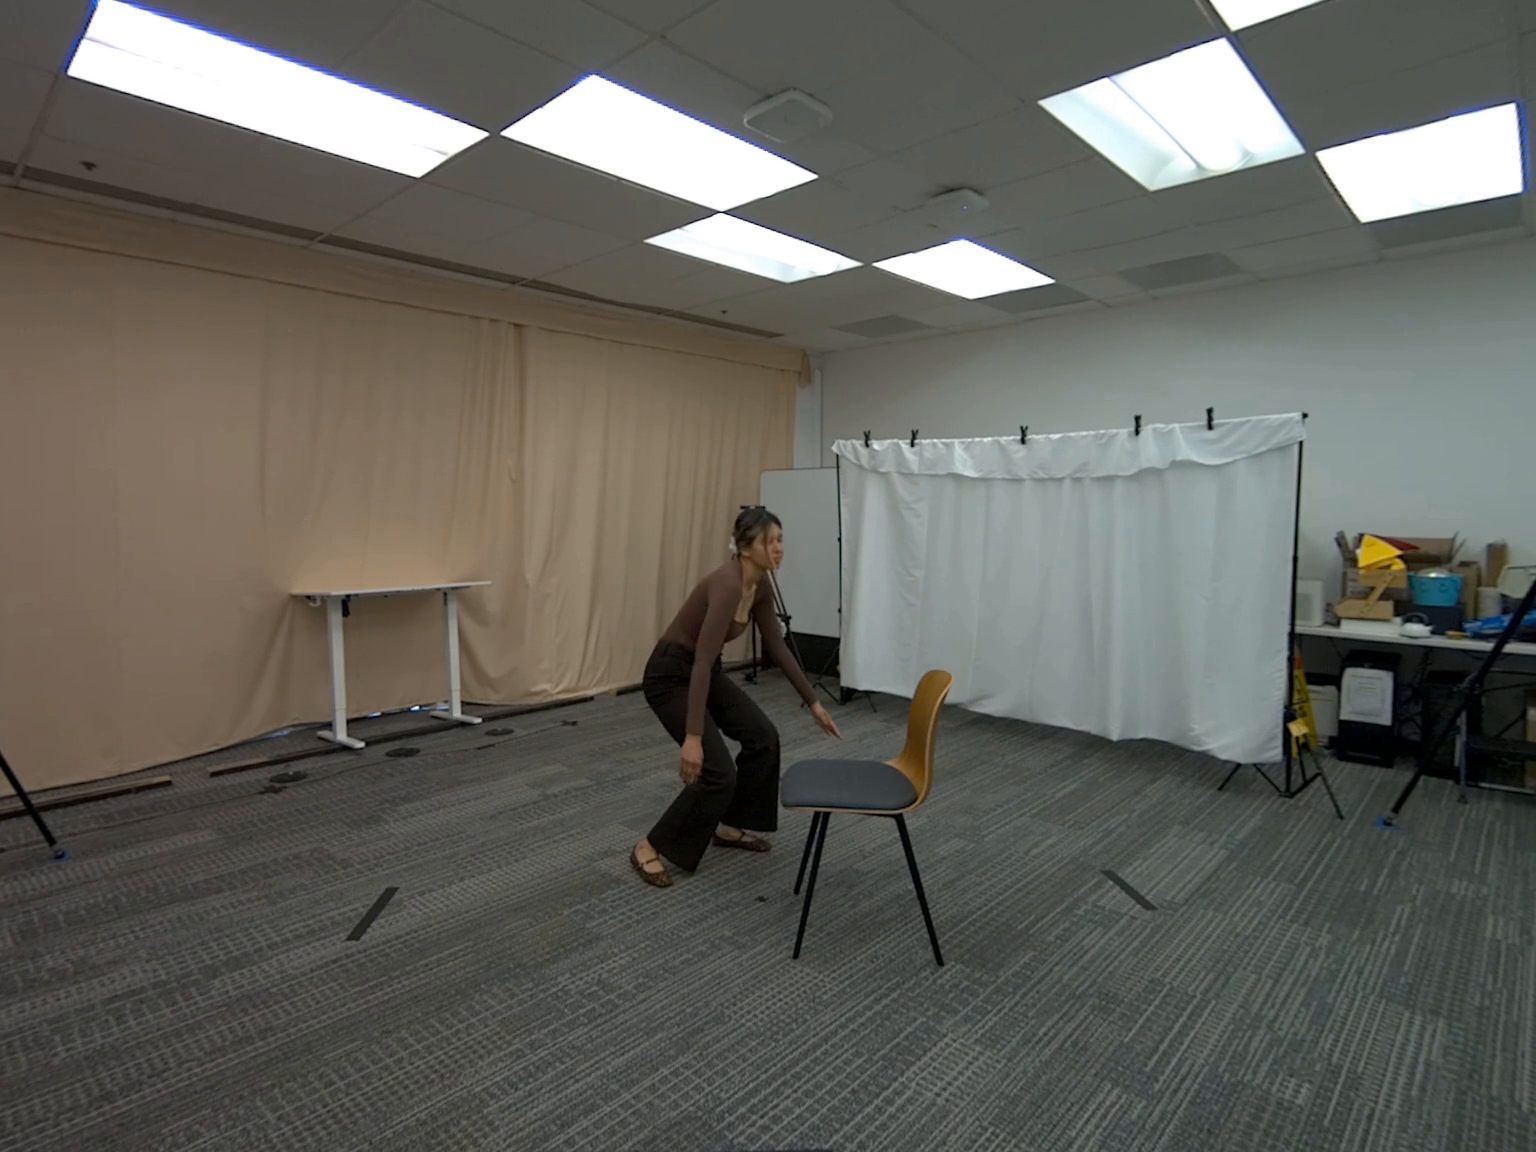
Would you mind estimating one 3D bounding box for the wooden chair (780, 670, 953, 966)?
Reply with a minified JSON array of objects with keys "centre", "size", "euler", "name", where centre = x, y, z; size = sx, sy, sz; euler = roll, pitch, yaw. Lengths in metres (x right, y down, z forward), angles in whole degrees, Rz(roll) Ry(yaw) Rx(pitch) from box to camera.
[{"centre":[0.309,0.734,2.753],"size":[0.526,0.875,0.476],"euler":[4,4,4],"name":"wooden chair"}]
